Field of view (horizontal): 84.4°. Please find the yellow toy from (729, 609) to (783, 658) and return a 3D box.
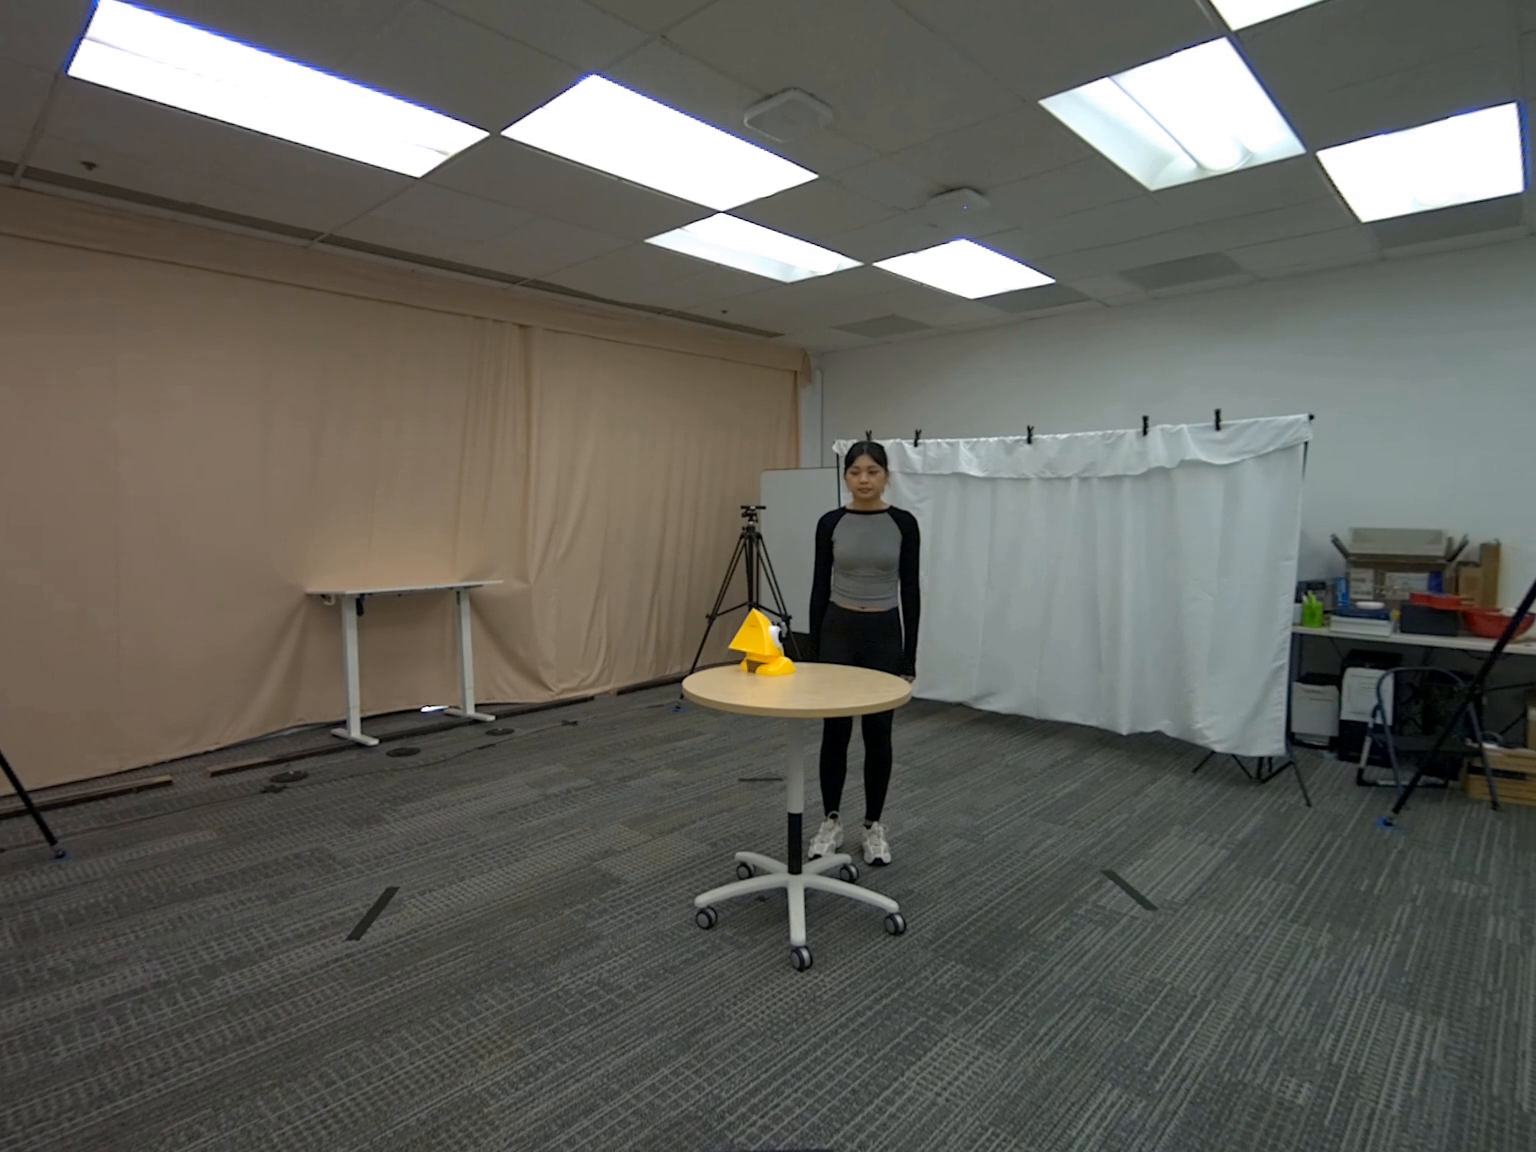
[{"bbox_3d":[-0.003,0.232,3.066,0.187,0.230,0.211,-1,4,-41],"label":"yellow toy"}]
